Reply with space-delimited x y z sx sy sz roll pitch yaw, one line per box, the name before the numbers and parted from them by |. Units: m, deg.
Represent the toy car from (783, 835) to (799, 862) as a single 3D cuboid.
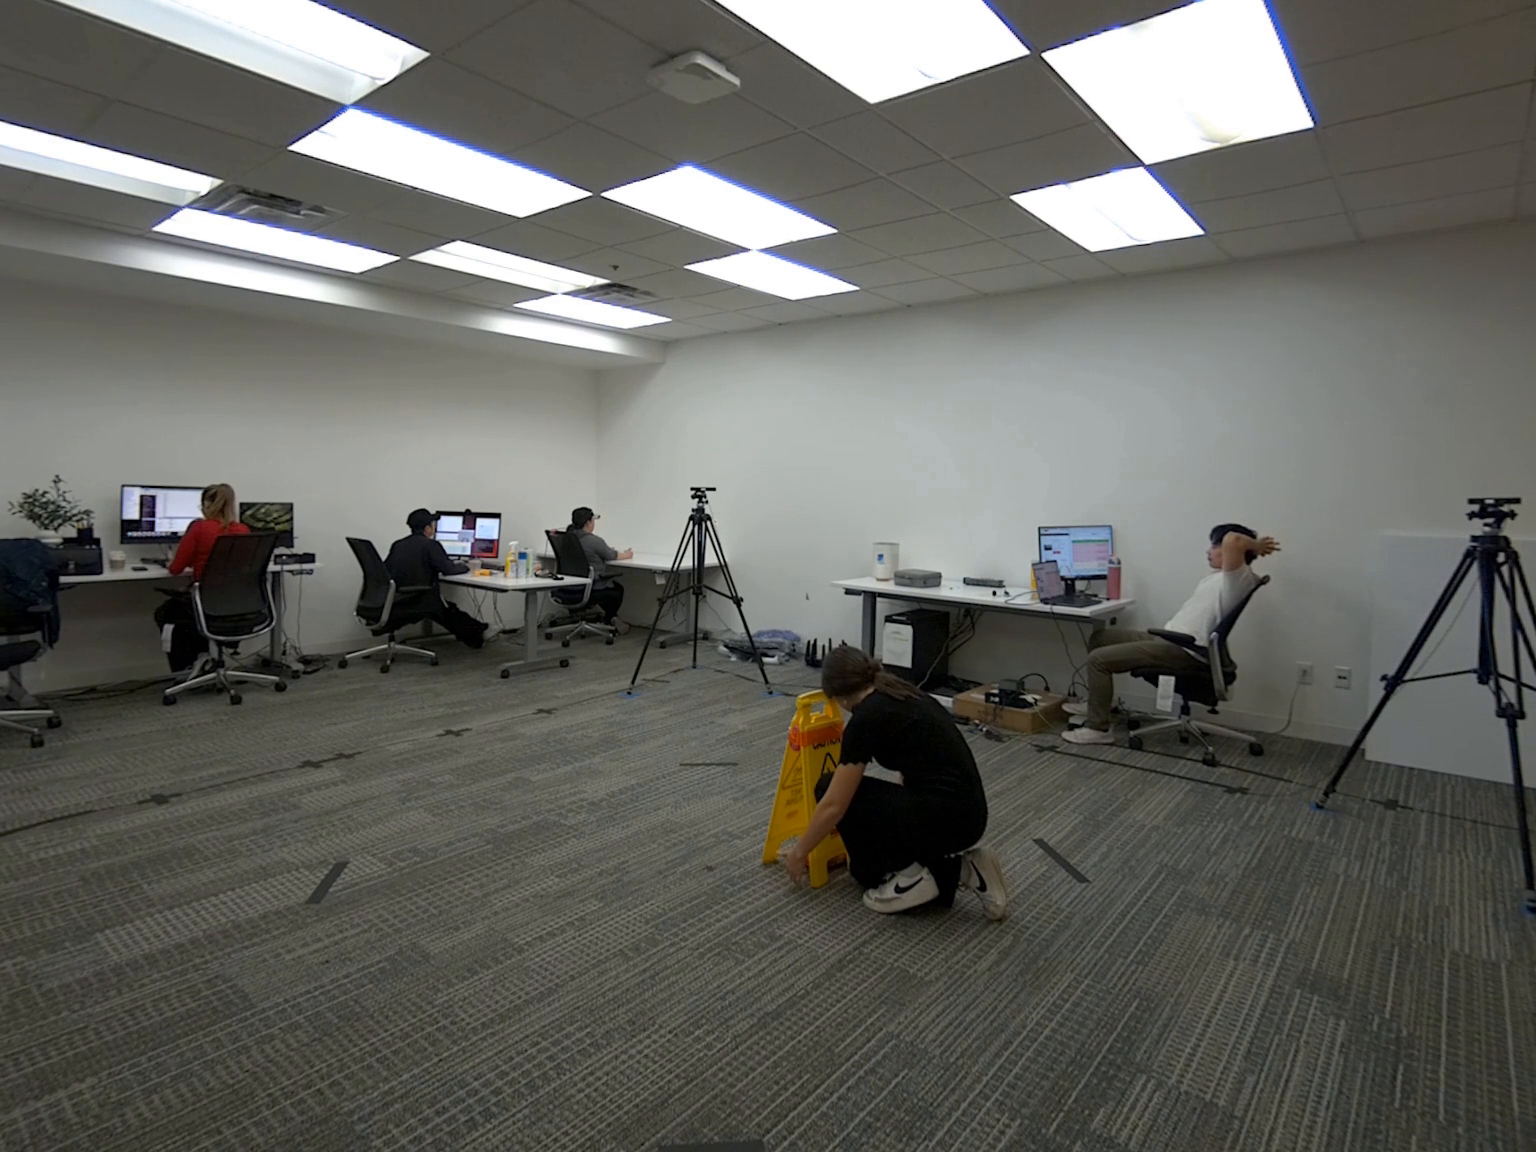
toy car | 0.236 1.034 3.179 0.249 0.082 0.134 -17 14 -32
